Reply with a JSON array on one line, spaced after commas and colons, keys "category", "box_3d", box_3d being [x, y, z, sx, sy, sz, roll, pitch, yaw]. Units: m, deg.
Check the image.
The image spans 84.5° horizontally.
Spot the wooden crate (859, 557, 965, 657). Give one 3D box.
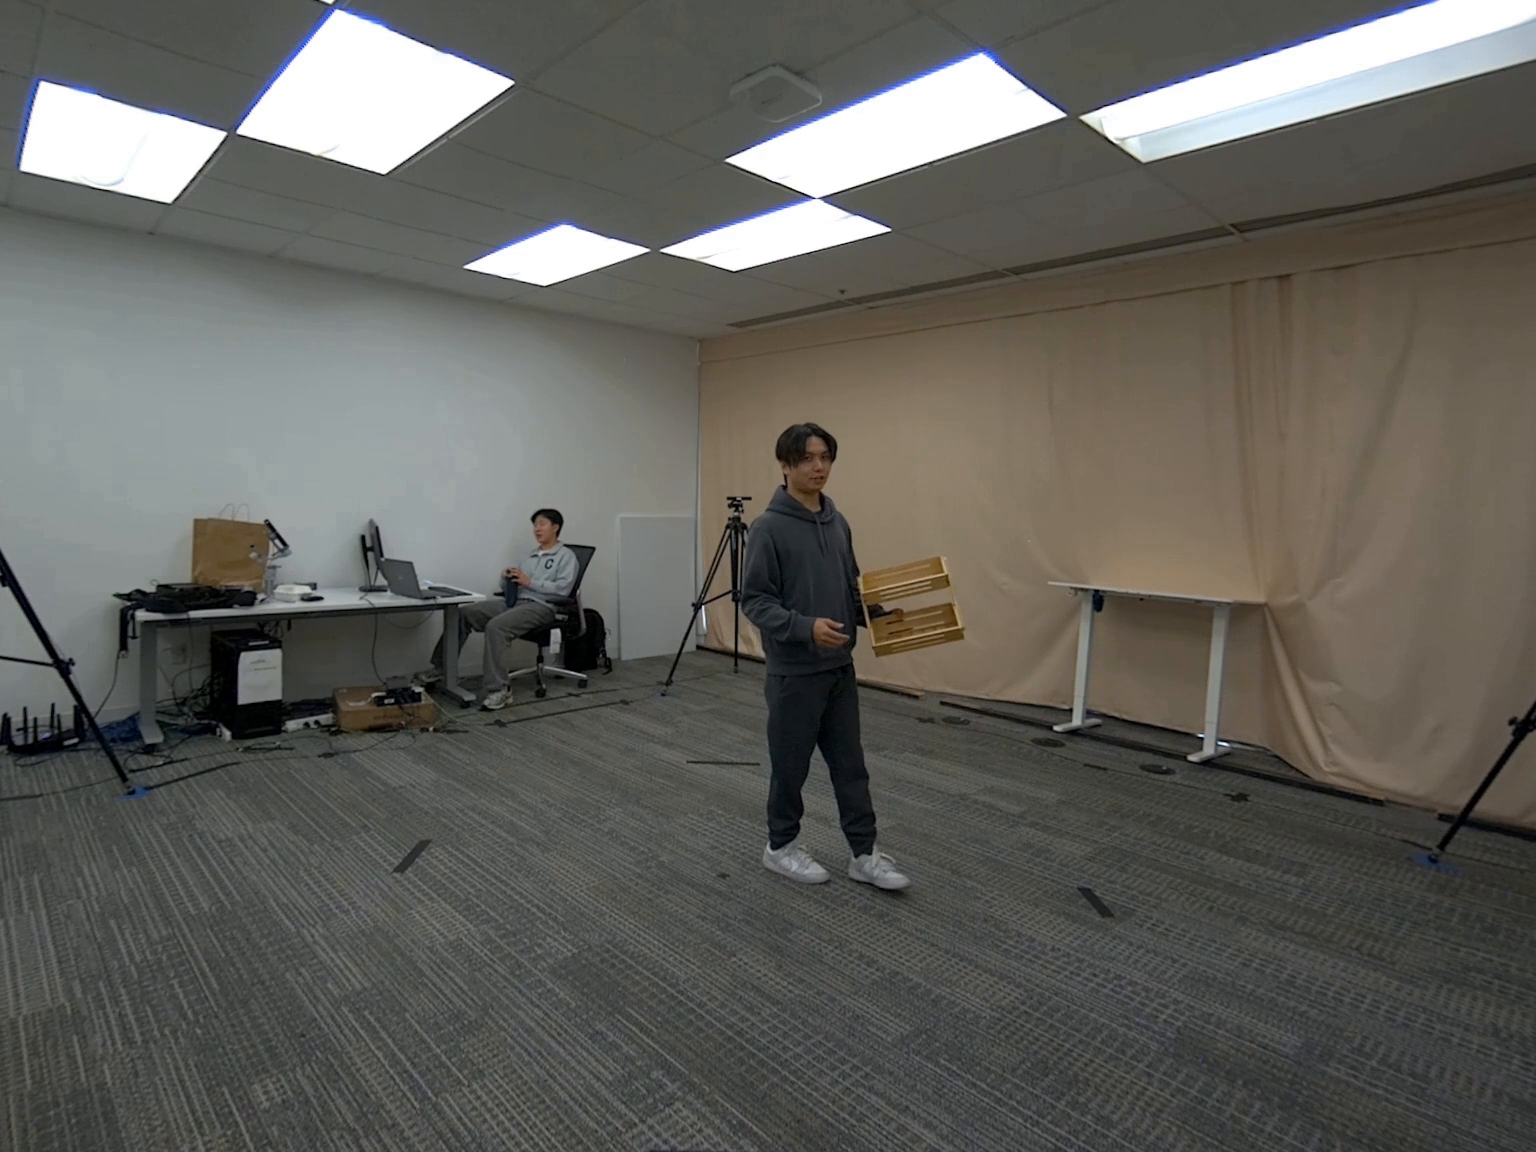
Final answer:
[{"category": "wooden crate", "box_3d": [0.501, 0.100, 2.944, 0.326, 0.272, 0.302, -14, 5, 7]}]
